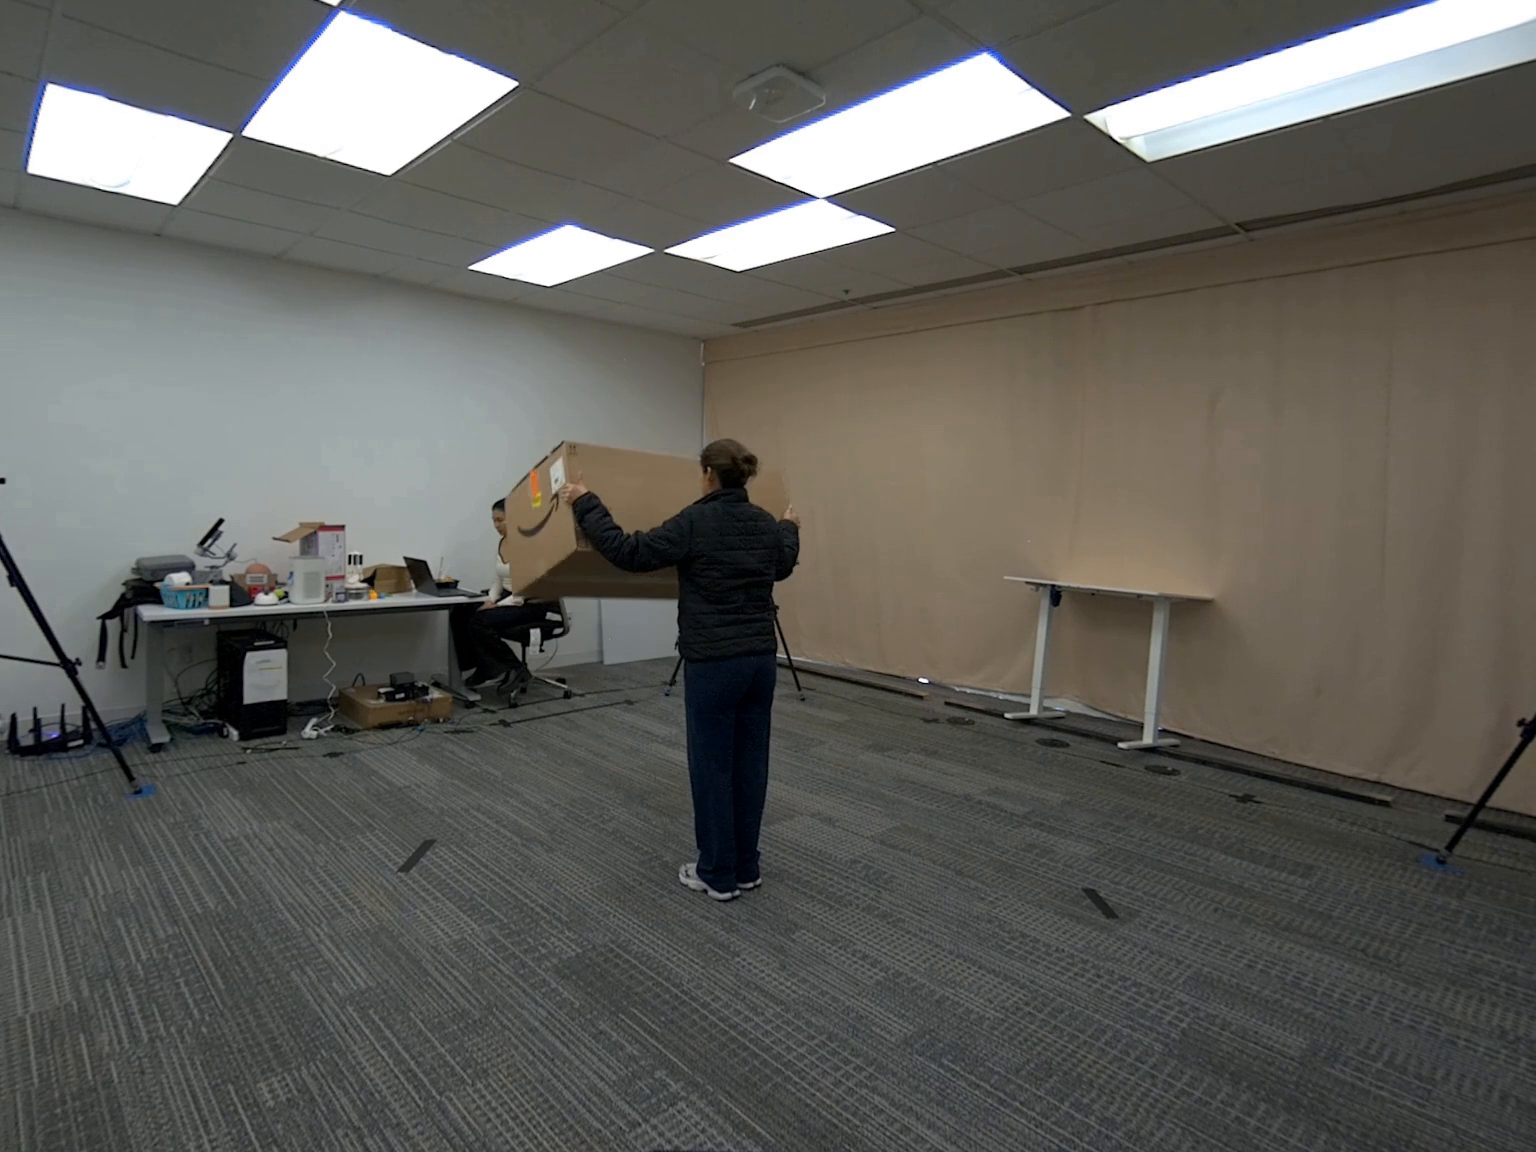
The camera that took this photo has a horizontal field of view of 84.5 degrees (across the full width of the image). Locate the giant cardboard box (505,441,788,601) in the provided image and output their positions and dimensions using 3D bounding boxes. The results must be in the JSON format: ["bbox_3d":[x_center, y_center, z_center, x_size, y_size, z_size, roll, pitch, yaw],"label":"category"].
[{"bbox_3d":[-0.470,-0.175,3.423,1.002,0.453,0.590,3,-19,-37],"label":"giant cardboard box"}]
